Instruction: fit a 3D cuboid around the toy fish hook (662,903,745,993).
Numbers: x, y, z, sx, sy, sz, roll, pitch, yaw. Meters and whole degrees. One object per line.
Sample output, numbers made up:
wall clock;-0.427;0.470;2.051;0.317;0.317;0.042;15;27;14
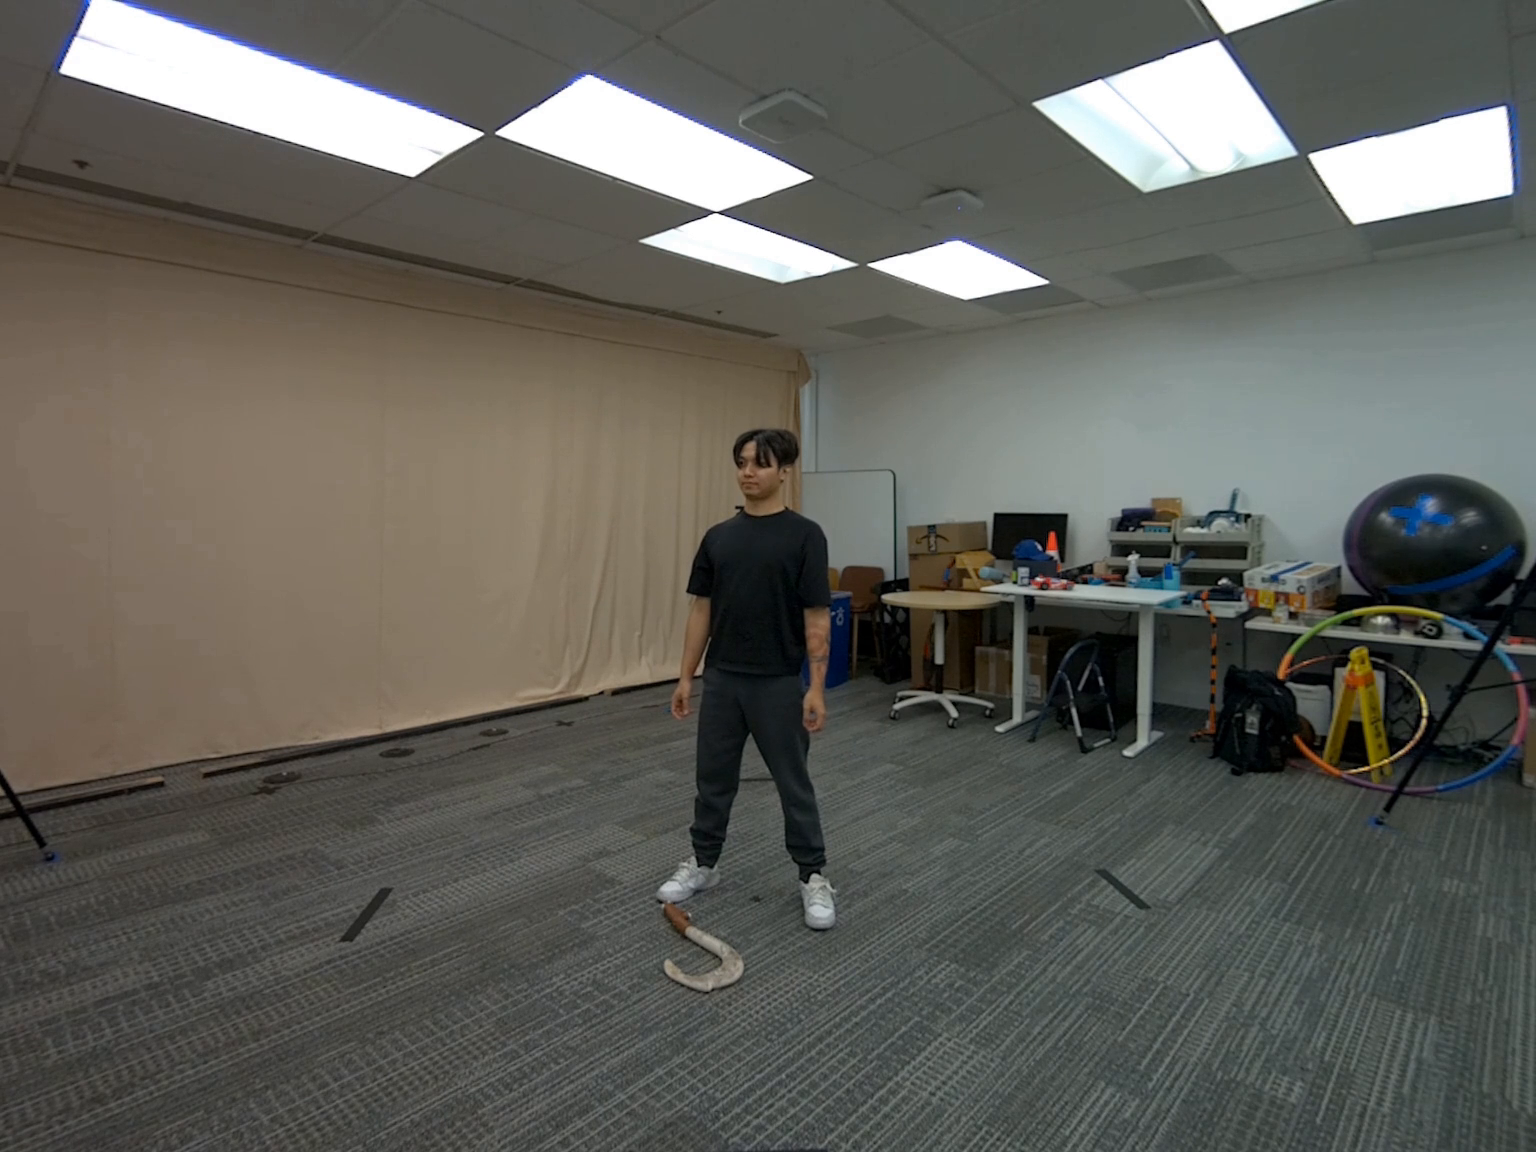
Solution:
toy fish hook;-0.260;1.150;2.639;0.218;0.048;0.521;-1;4;-31
